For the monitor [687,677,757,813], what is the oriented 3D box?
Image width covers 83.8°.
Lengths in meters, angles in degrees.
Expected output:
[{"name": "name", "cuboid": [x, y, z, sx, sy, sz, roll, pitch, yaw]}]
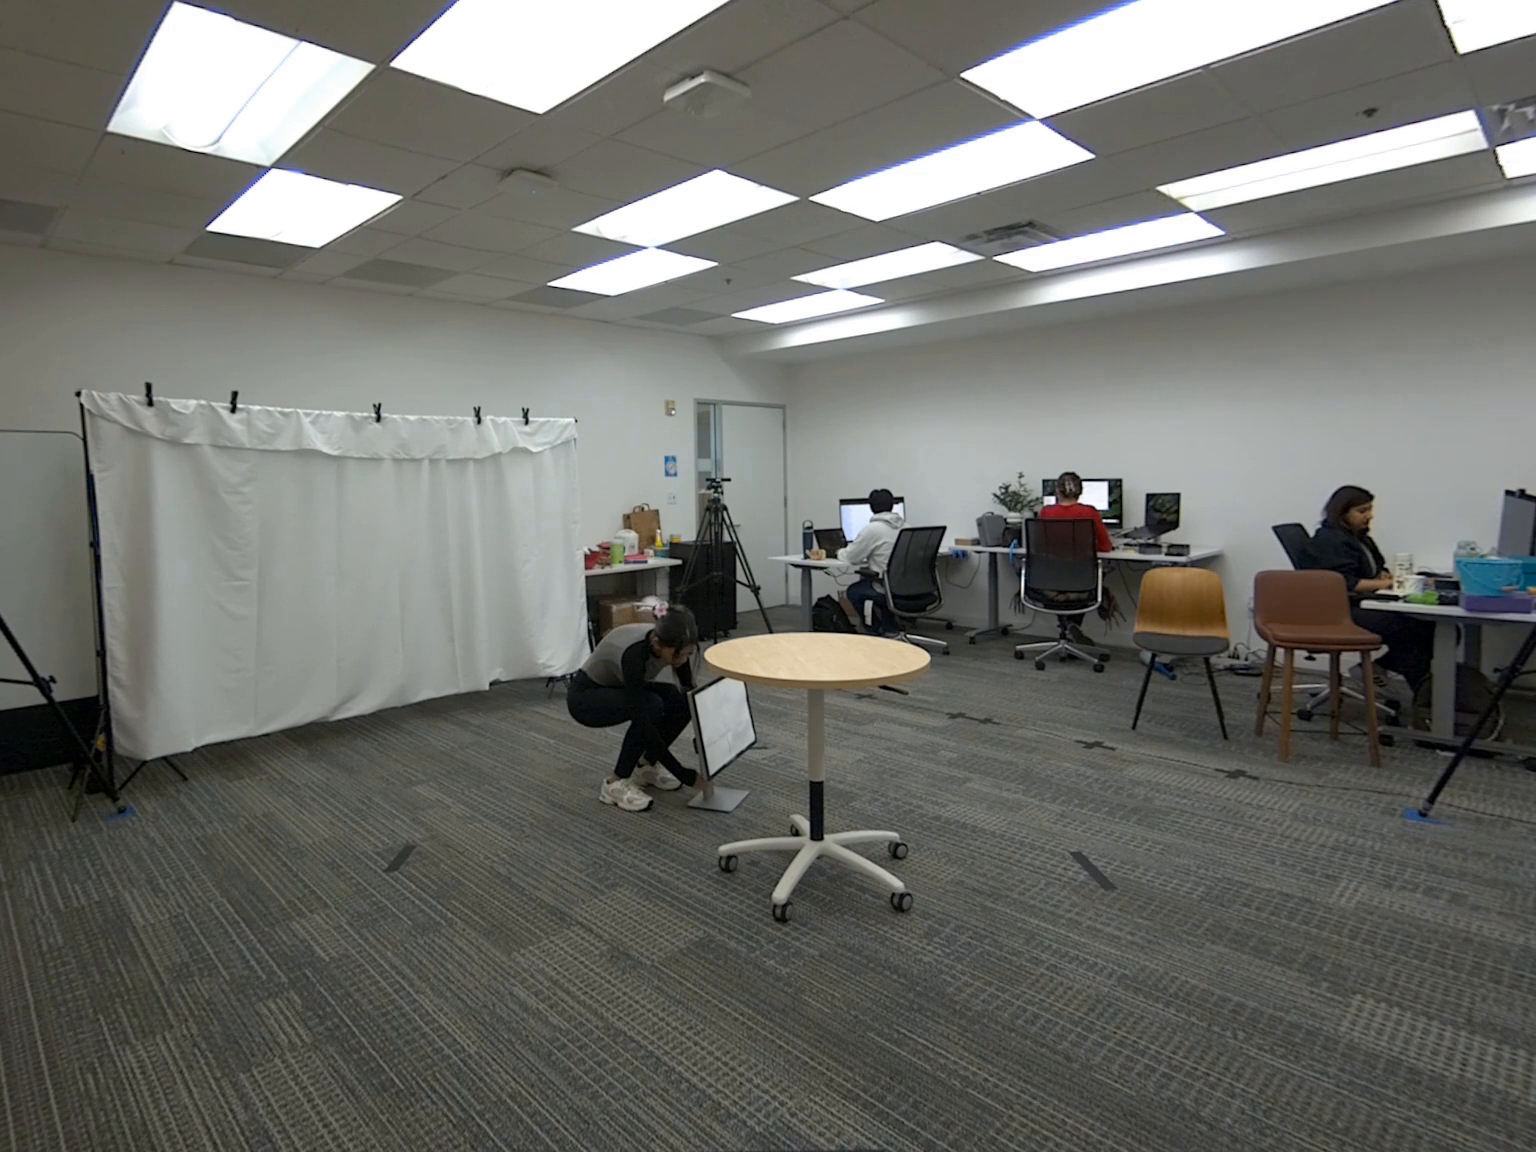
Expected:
[{"name": "monitor", "cuboid": [-0.223, 0.708, 3.701, 0.191, 0.521, 0.530, 1, 4, 19]}]
